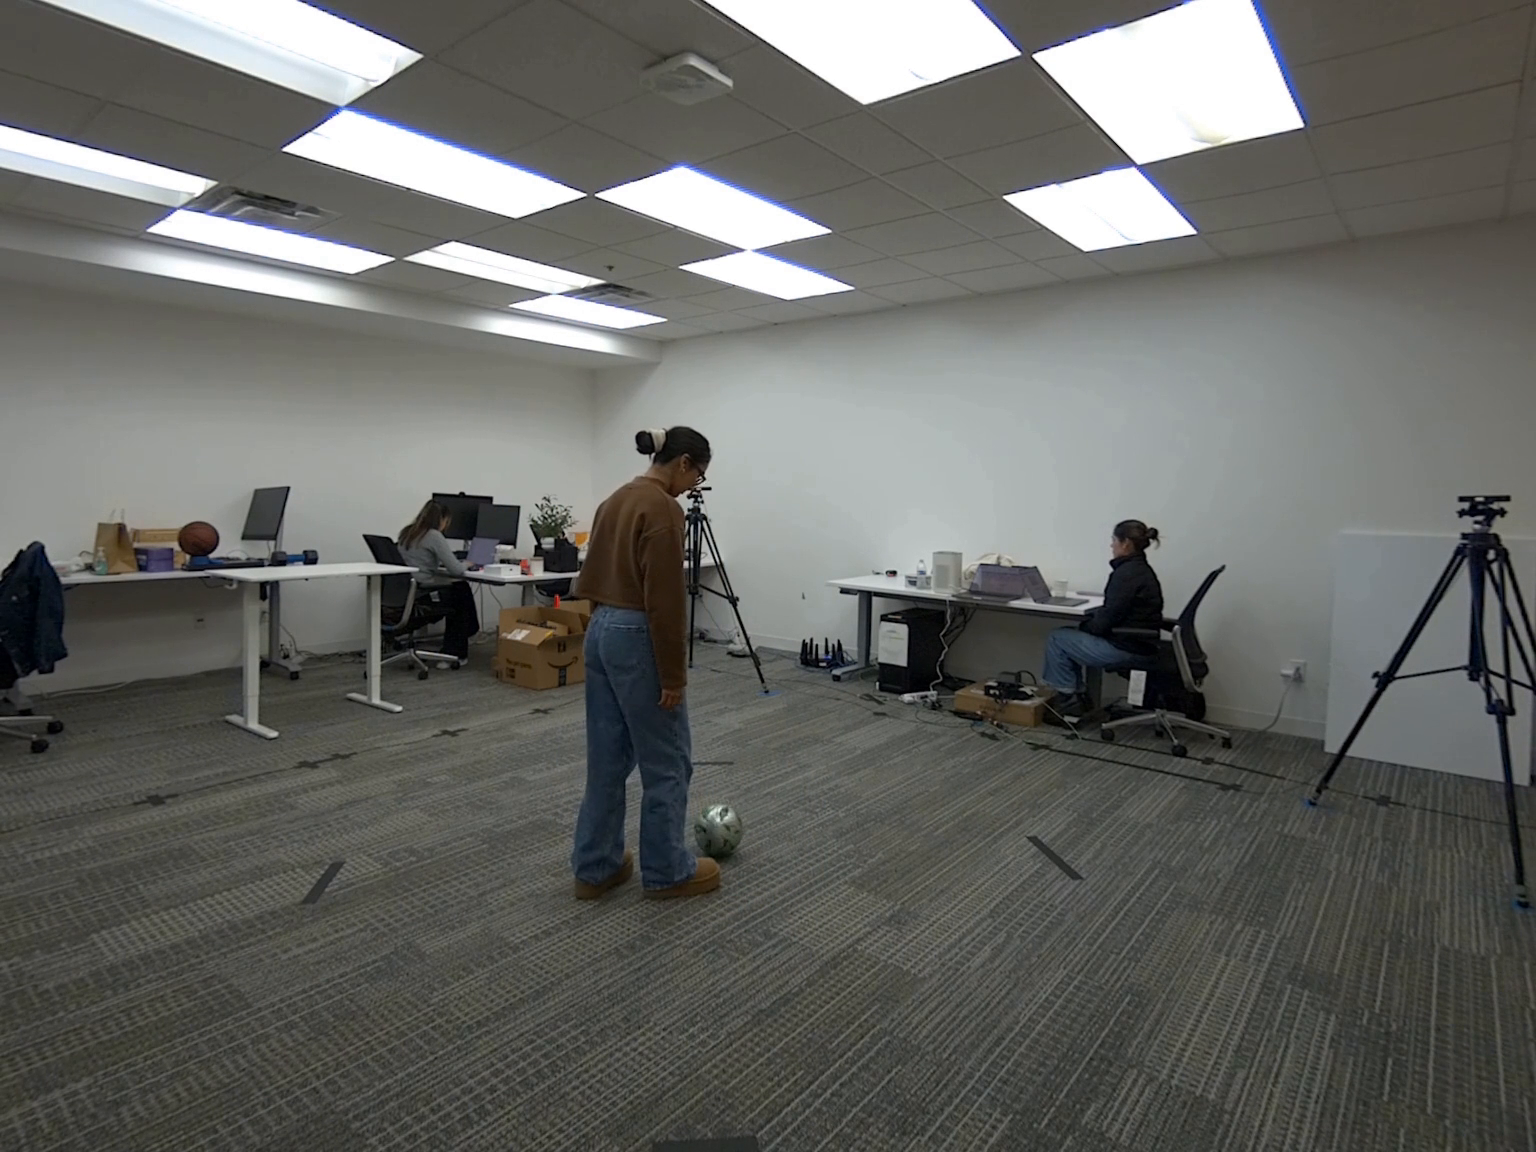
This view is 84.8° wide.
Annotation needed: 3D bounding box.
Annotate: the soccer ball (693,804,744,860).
[{"bbox_3d":[-0.196,0.958,3.229,0.187,0.187,0.188,1,4,-2],"label":"soccer ball"}]
